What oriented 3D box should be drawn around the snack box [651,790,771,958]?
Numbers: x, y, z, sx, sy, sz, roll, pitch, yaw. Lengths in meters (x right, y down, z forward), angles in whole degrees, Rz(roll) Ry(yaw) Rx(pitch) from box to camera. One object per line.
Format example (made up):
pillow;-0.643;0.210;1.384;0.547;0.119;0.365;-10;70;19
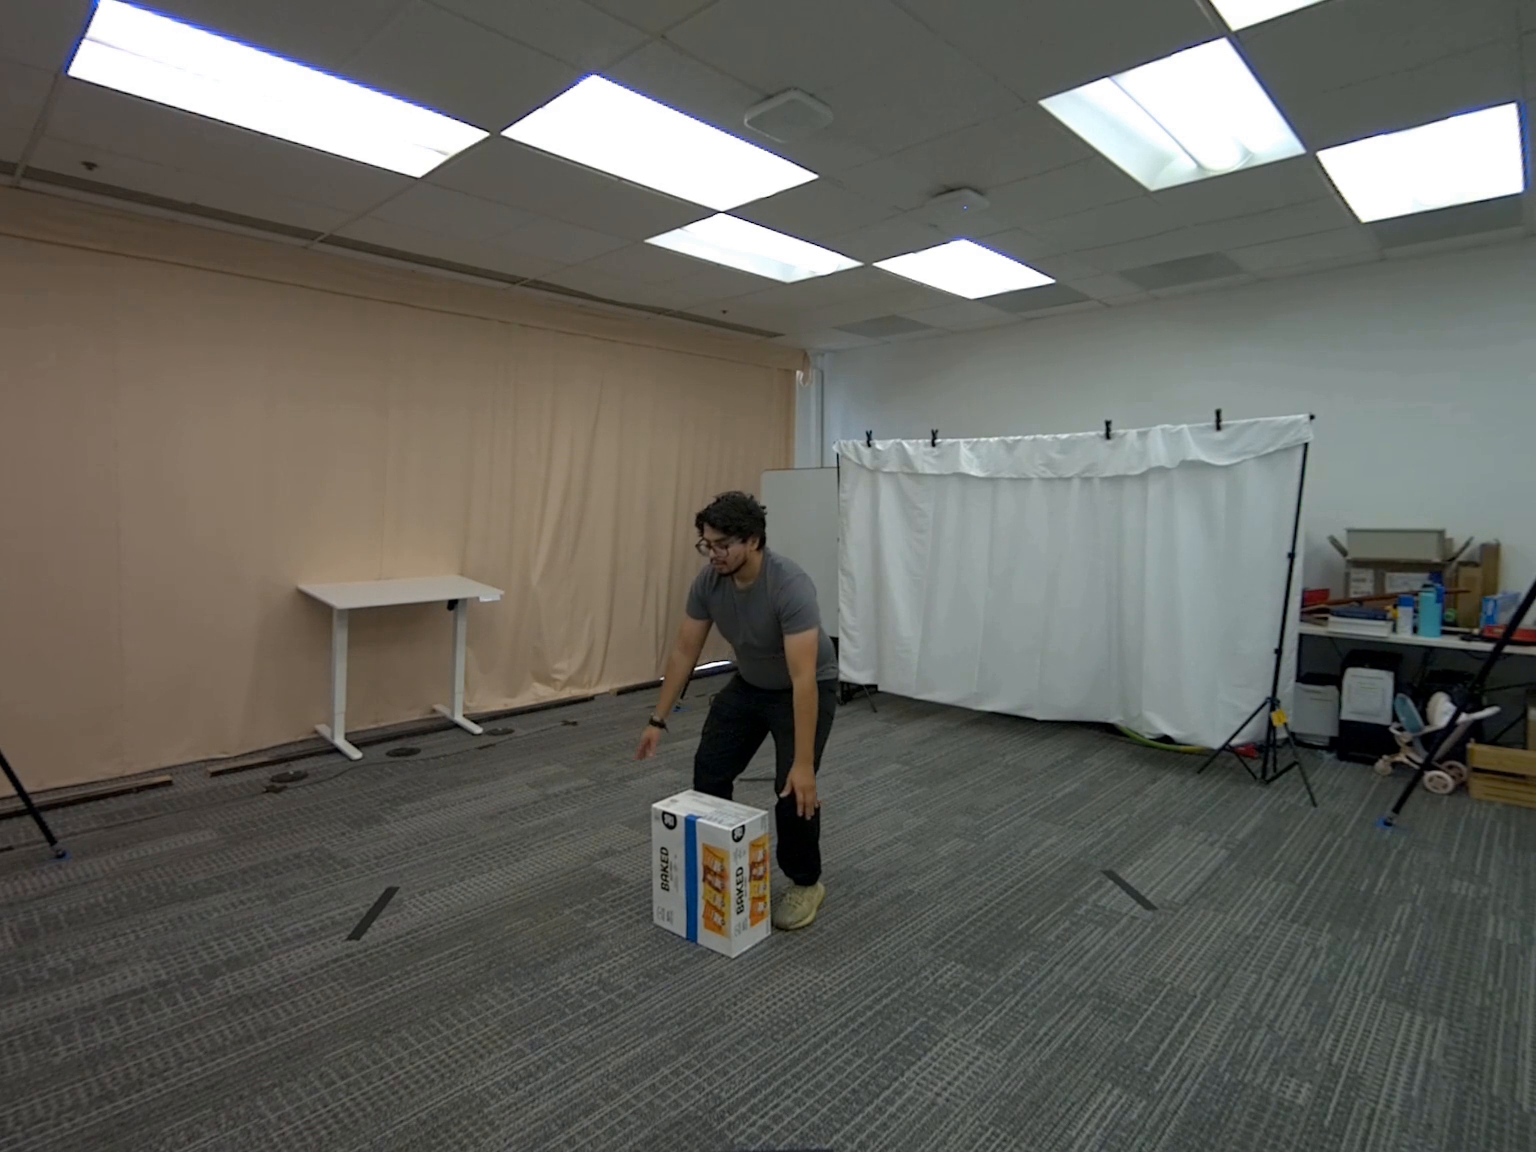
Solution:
snack box;-0.187;0.963;2.757;0.351;0.404;0.199;3;4;39
